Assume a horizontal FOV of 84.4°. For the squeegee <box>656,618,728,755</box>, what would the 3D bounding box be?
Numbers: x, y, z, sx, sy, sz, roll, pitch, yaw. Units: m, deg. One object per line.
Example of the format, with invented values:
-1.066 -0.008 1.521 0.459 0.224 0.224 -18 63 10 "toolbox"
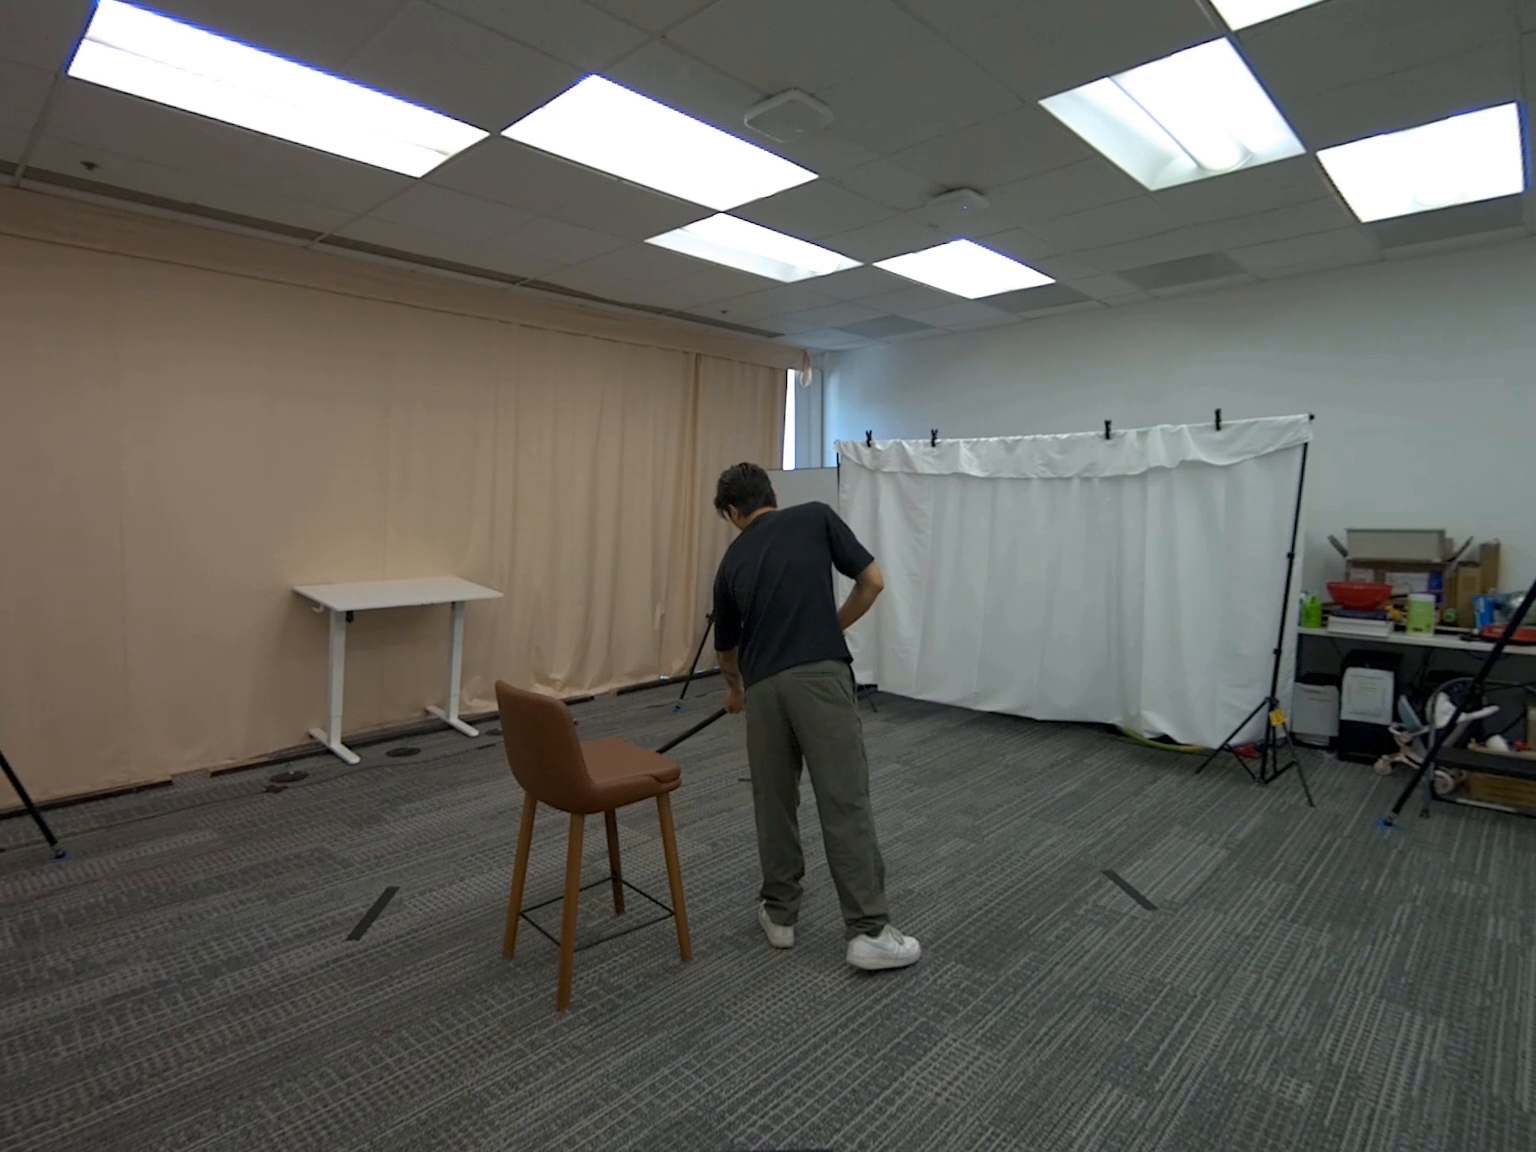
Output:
-0.220 0.544 3.275 0.424 0.054 1.557 -6 -23 -45 "squeegee"
